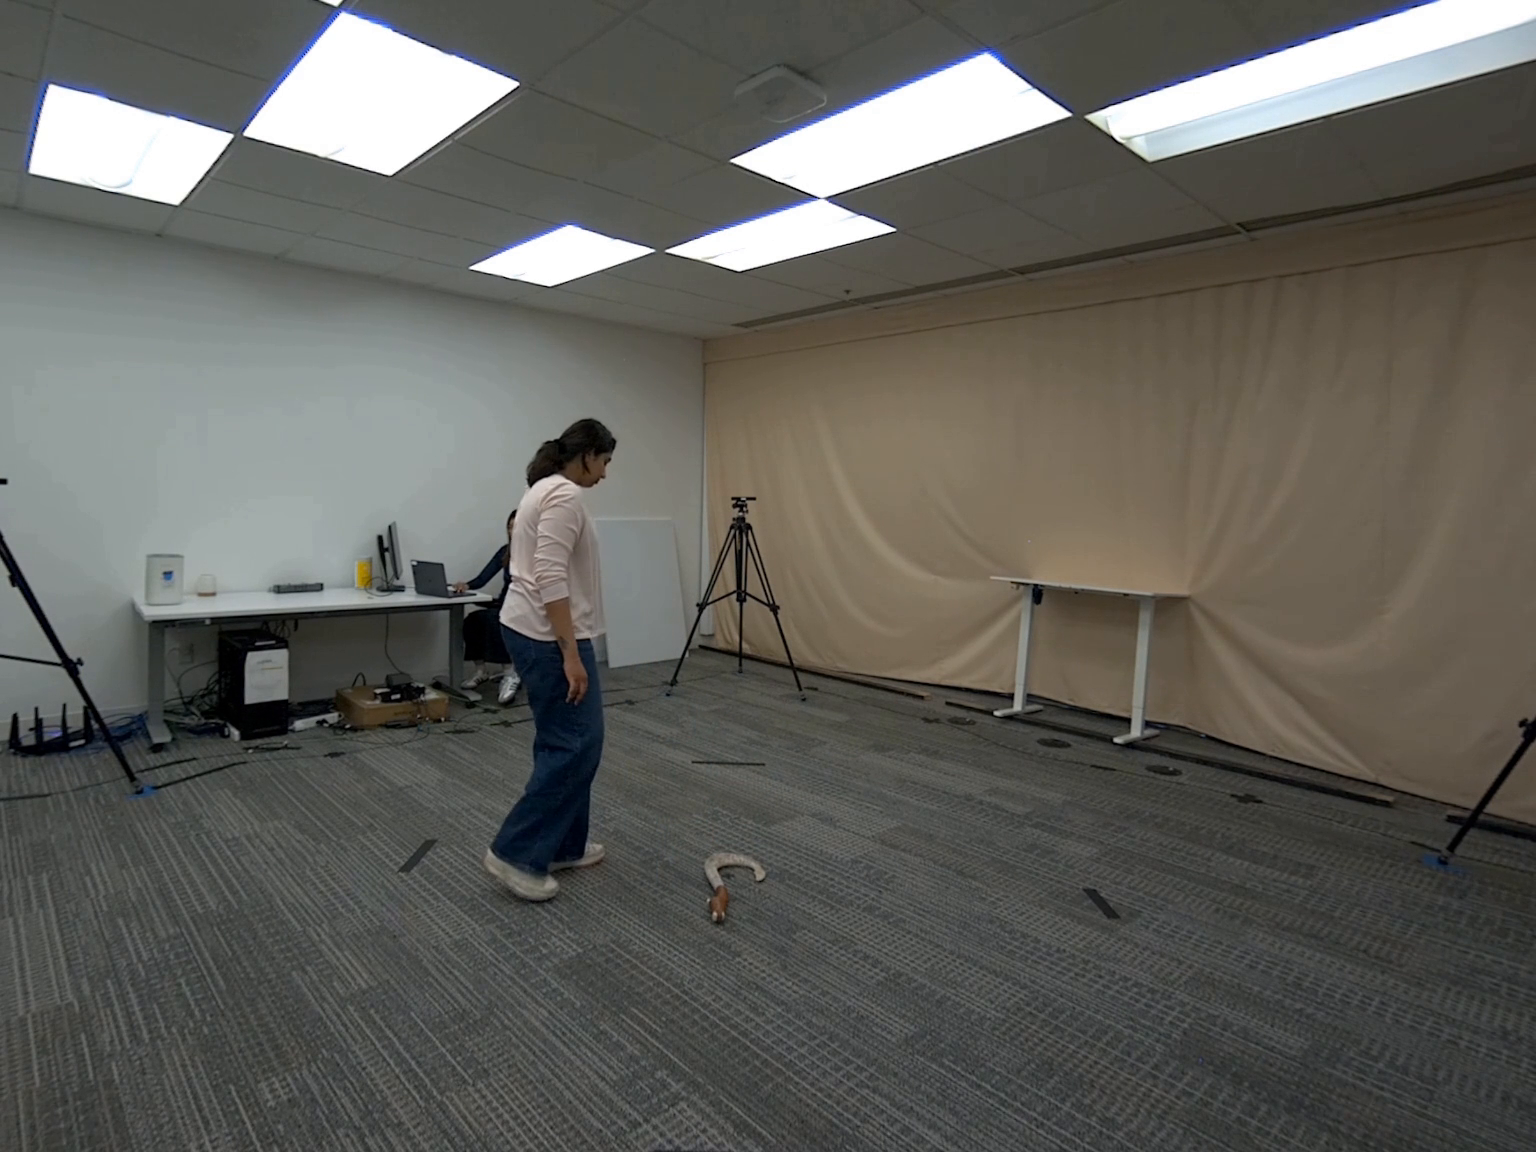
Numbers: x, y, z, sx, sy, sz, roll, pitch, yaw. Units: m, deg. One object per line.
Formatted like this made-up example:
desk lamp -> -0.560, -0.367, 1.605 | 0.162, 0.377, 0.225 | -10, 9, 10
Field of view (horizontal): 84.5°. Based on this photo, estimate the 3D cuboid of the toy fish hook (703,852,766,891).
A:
toy fish hook -> -0.126, 1.095, 2.977 | 0.224, 0.048, 0.509 | 0, 6, -2
